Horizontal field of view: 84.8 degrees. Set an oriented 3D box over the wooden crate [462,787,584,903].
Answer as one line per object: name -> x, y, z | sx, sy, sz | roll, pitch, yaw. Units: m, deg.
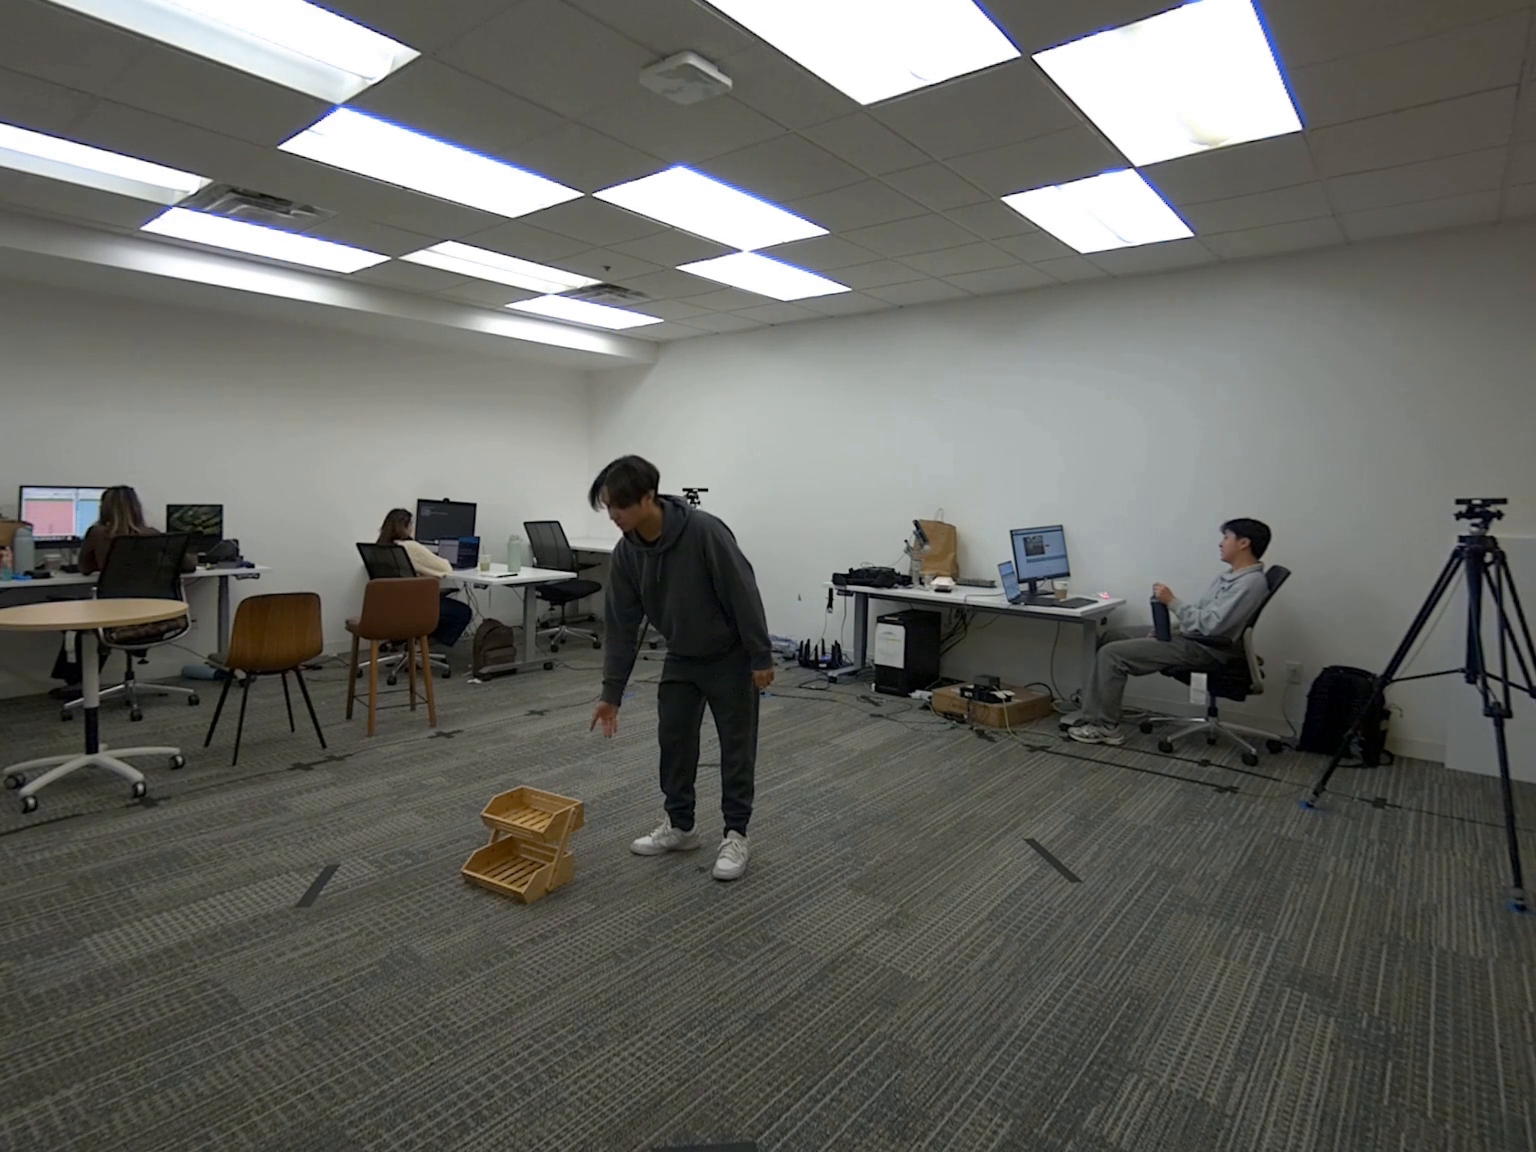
wooden crate -> -0.884, 0.940, 3.003 | 0.334, 0.272, 0.294 | 3, 4, 29
